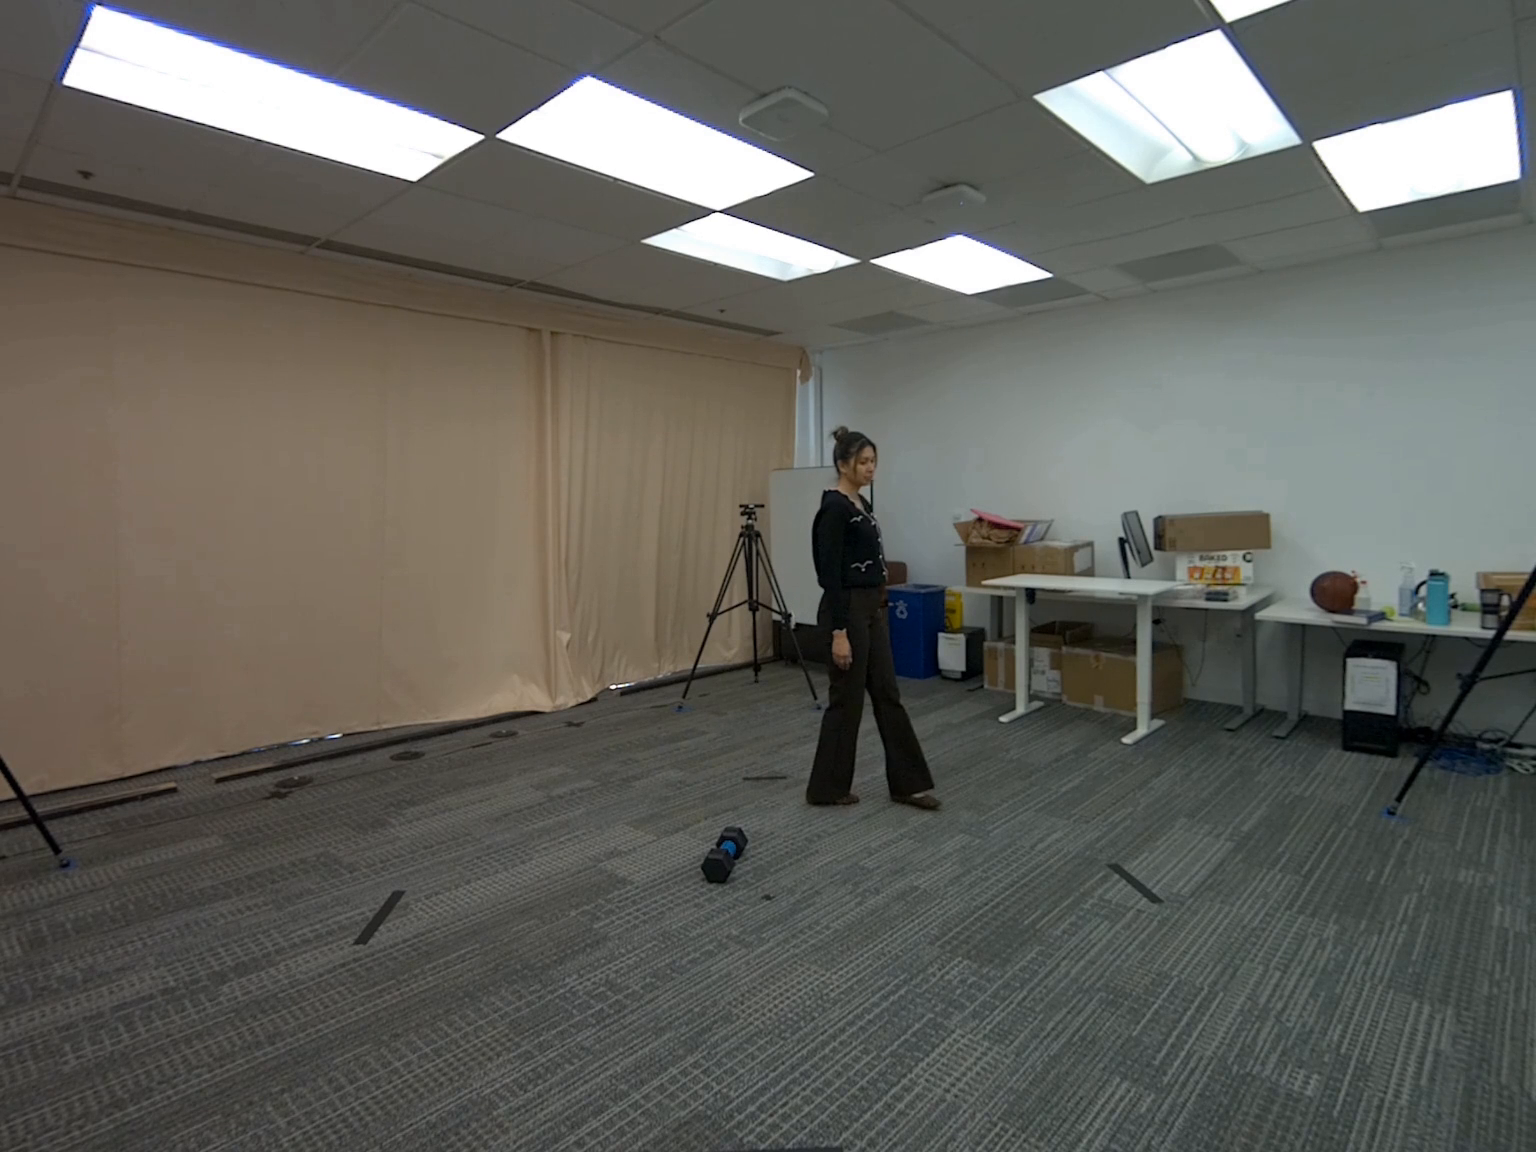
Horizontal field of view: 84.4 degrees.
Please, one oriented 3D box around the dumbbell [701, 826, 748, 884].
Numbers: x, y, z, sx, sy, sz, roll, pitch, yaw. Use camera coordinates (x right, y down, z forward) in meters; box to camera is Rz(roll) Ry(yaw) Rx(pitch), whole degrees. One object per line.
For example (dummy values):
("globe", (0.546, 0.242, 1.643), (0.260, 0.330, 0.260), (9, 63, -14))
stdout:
("dumbbell", (-0.164, 1.066, 3.233), (0.110, 0.123, 0.290), (30, 11, 8))
